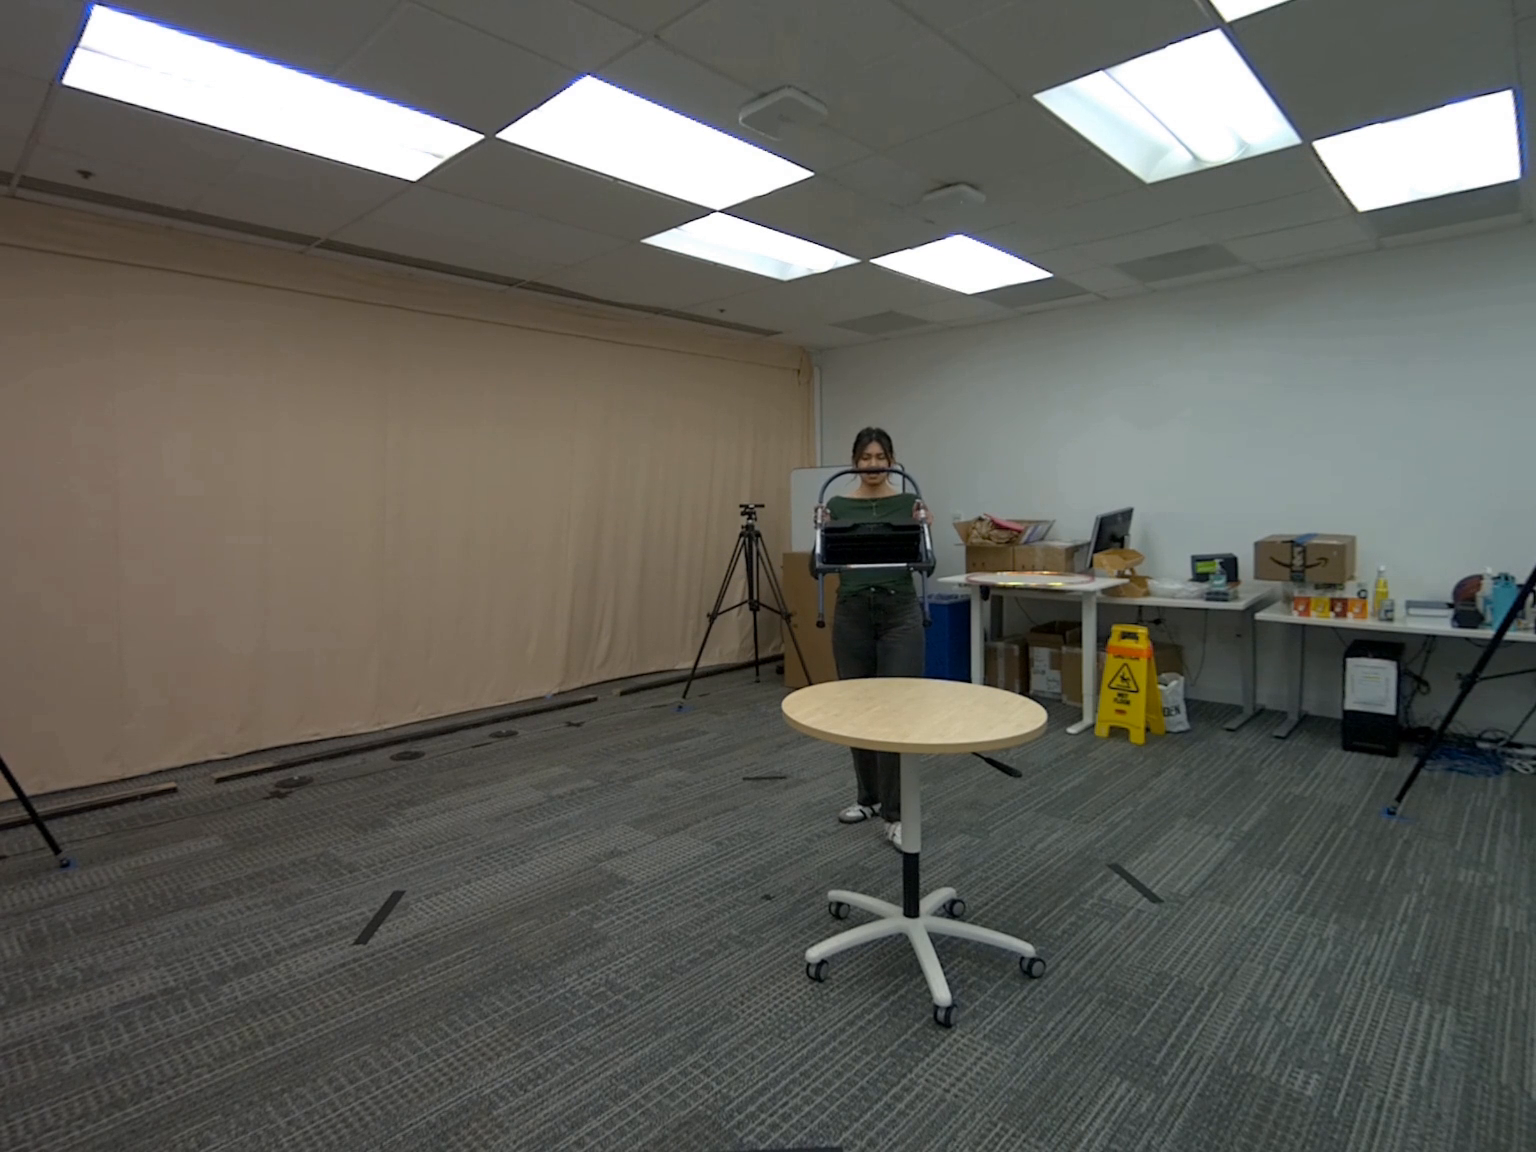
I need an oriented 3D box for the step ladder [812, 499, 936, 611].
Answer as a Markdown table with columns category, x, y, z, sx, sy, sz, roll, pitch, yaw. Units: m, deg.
| category | x | y | z | sx | sy | sz | roll | pitch | yaw |
| --- | --- | --- | --- | --- | --- | --- | --- | --- | --- |
| step ladder | 0.403 | -0.147 | 3.253 | 0.434 | 0.616 | 0.341 | -3 | -40 | 7 |
